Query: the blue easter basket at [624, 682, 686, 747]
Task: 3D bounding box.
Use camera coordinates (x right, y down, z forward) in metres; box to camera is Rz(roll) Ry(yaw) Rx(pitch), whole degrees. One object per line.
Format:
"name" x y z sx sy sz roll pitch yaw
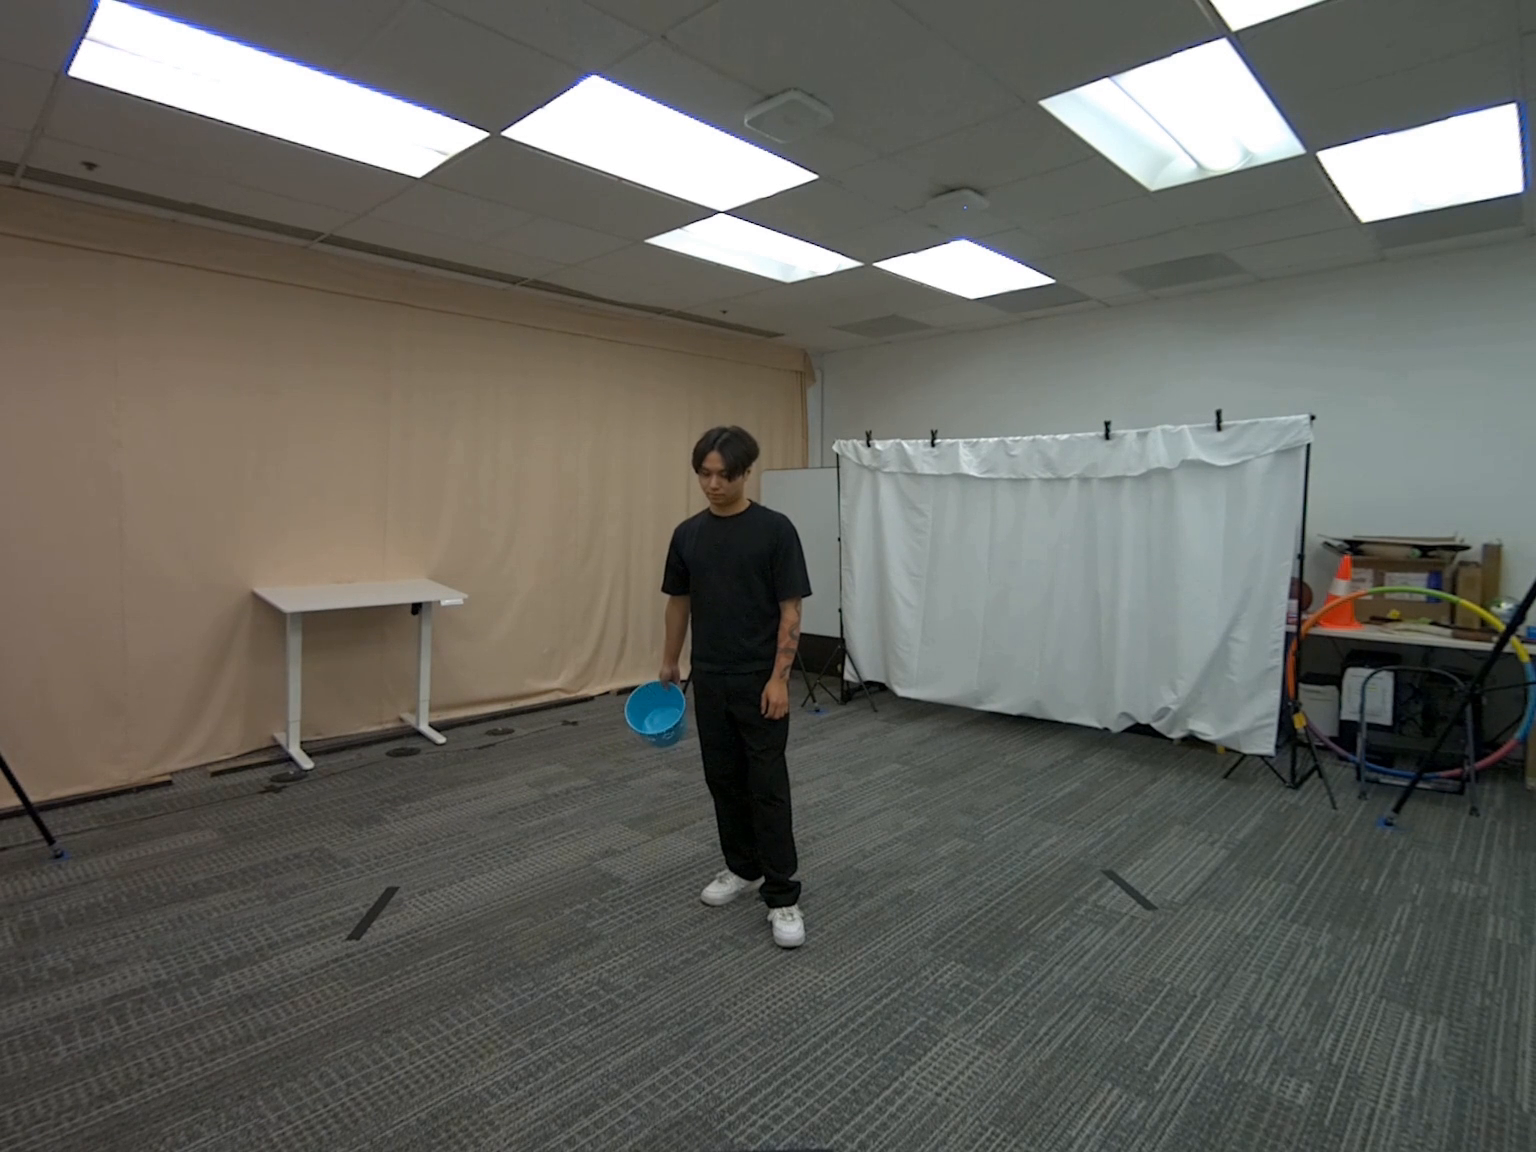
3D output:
"blue easter basket" -0.410 0.530 3.192 0.245 0.248 0.152 -8 -42 7
